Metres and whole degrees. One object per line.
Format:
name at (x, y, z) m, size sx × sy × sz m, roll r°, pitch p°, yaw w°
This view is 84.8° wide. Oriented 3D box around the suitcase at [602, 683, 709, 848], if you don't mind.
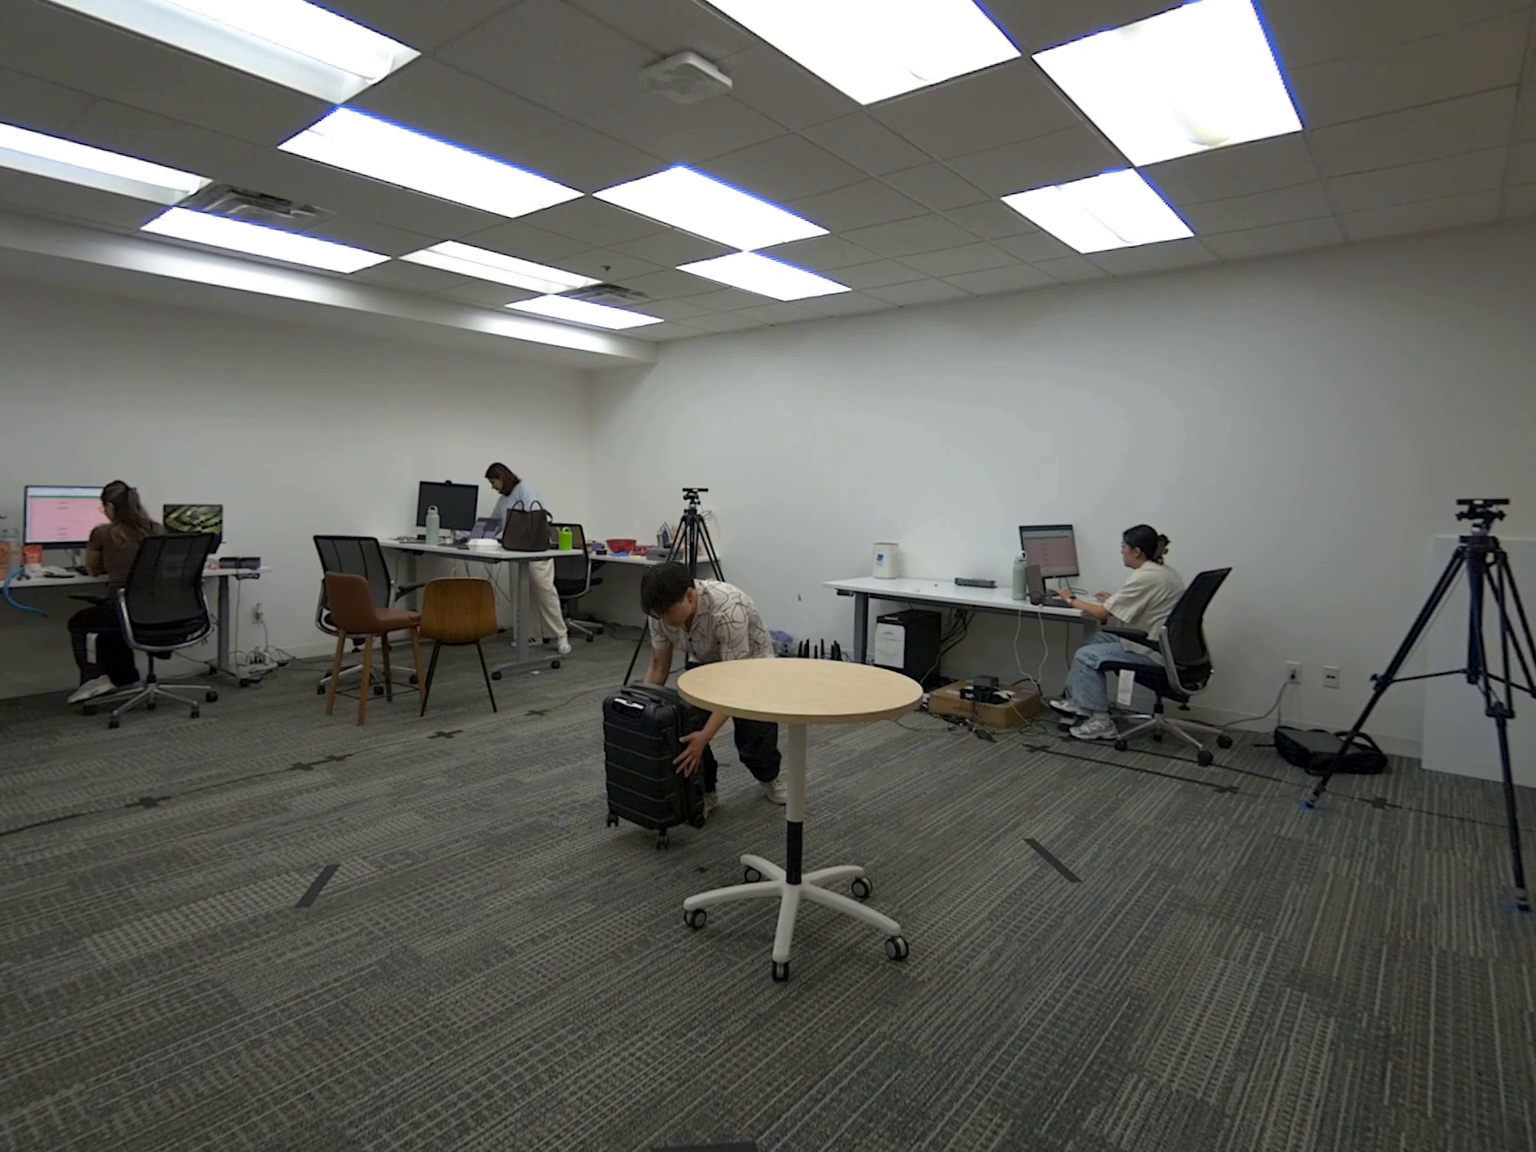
suitcase at (-0.470, 0.710, 3.334) m, size 0.388 × 0.546 × 0.241 m, roll 4°, pitch 8°, yaw 41°
